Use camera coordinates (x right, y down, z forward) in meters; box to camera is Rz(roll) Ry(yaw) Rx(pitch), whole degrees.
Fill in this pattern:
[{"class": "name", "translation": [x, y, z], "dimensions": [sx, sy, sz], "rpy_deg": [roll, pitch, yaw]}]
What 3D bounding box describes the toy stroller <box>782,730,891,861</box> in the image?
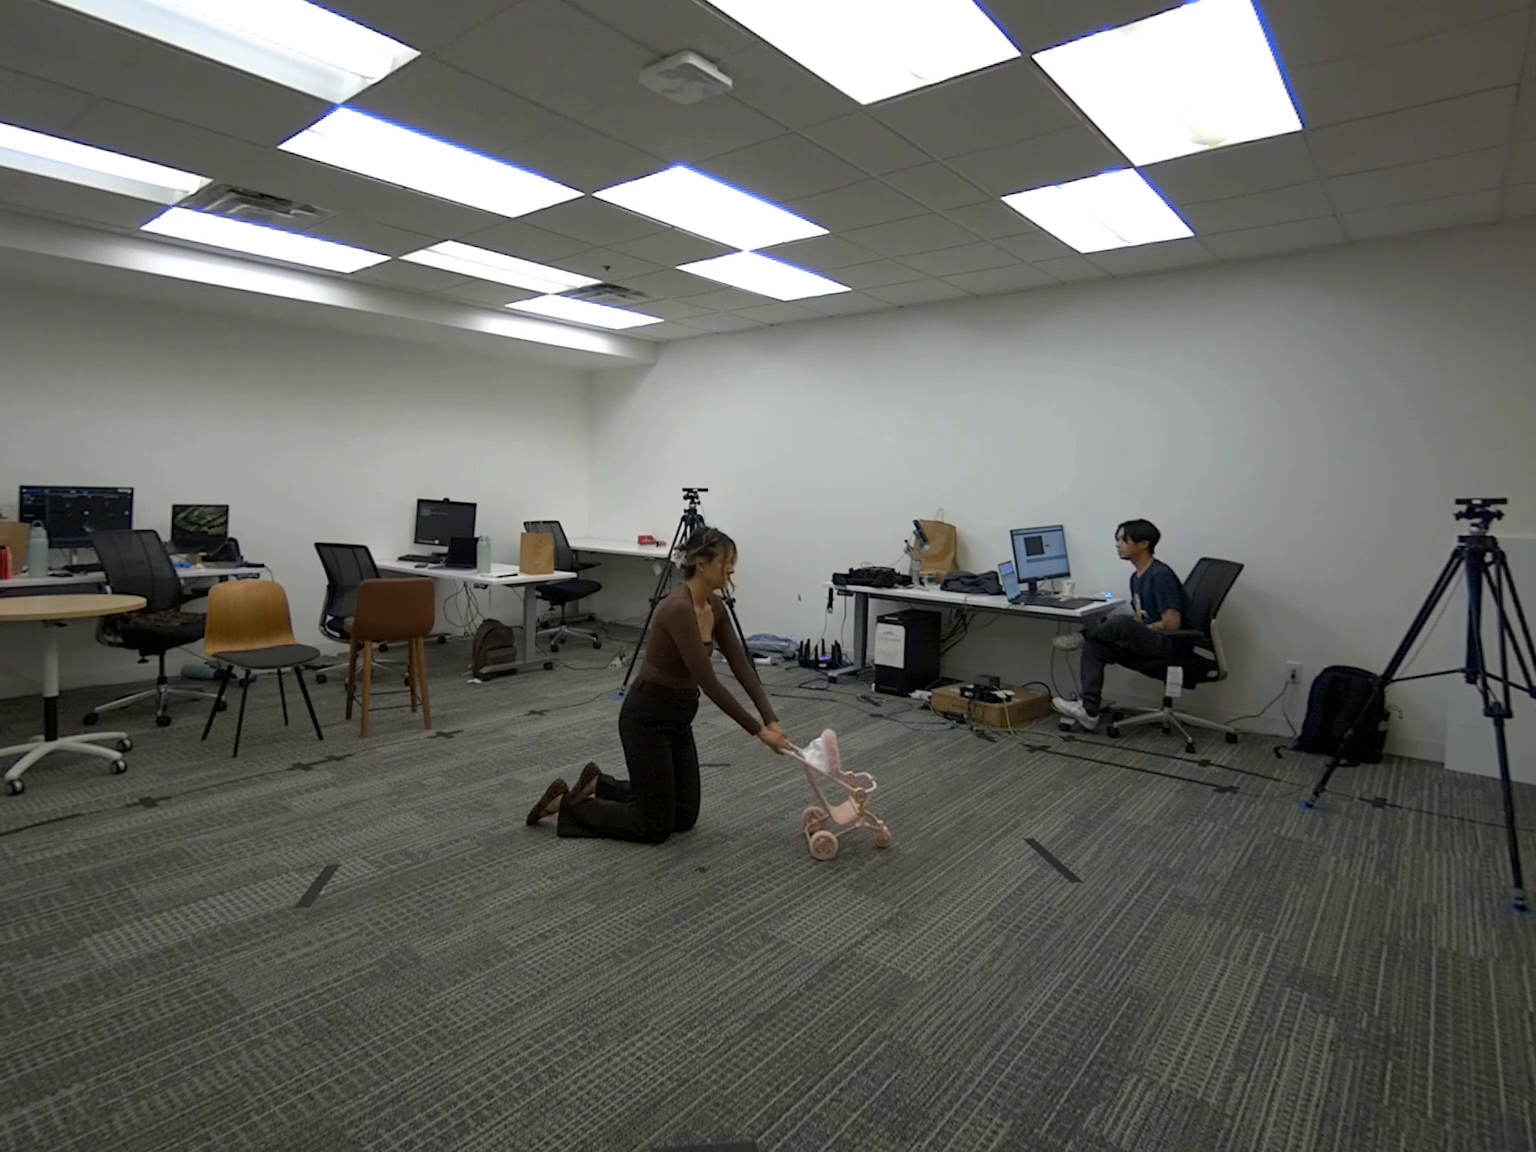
[{"class": "toy stroller", "translation": [0.247, 0.832, 3.322], "dimensions": [0.342, 0.533, 0.282], "rpy_deg": [-16, 3, 1]}]
